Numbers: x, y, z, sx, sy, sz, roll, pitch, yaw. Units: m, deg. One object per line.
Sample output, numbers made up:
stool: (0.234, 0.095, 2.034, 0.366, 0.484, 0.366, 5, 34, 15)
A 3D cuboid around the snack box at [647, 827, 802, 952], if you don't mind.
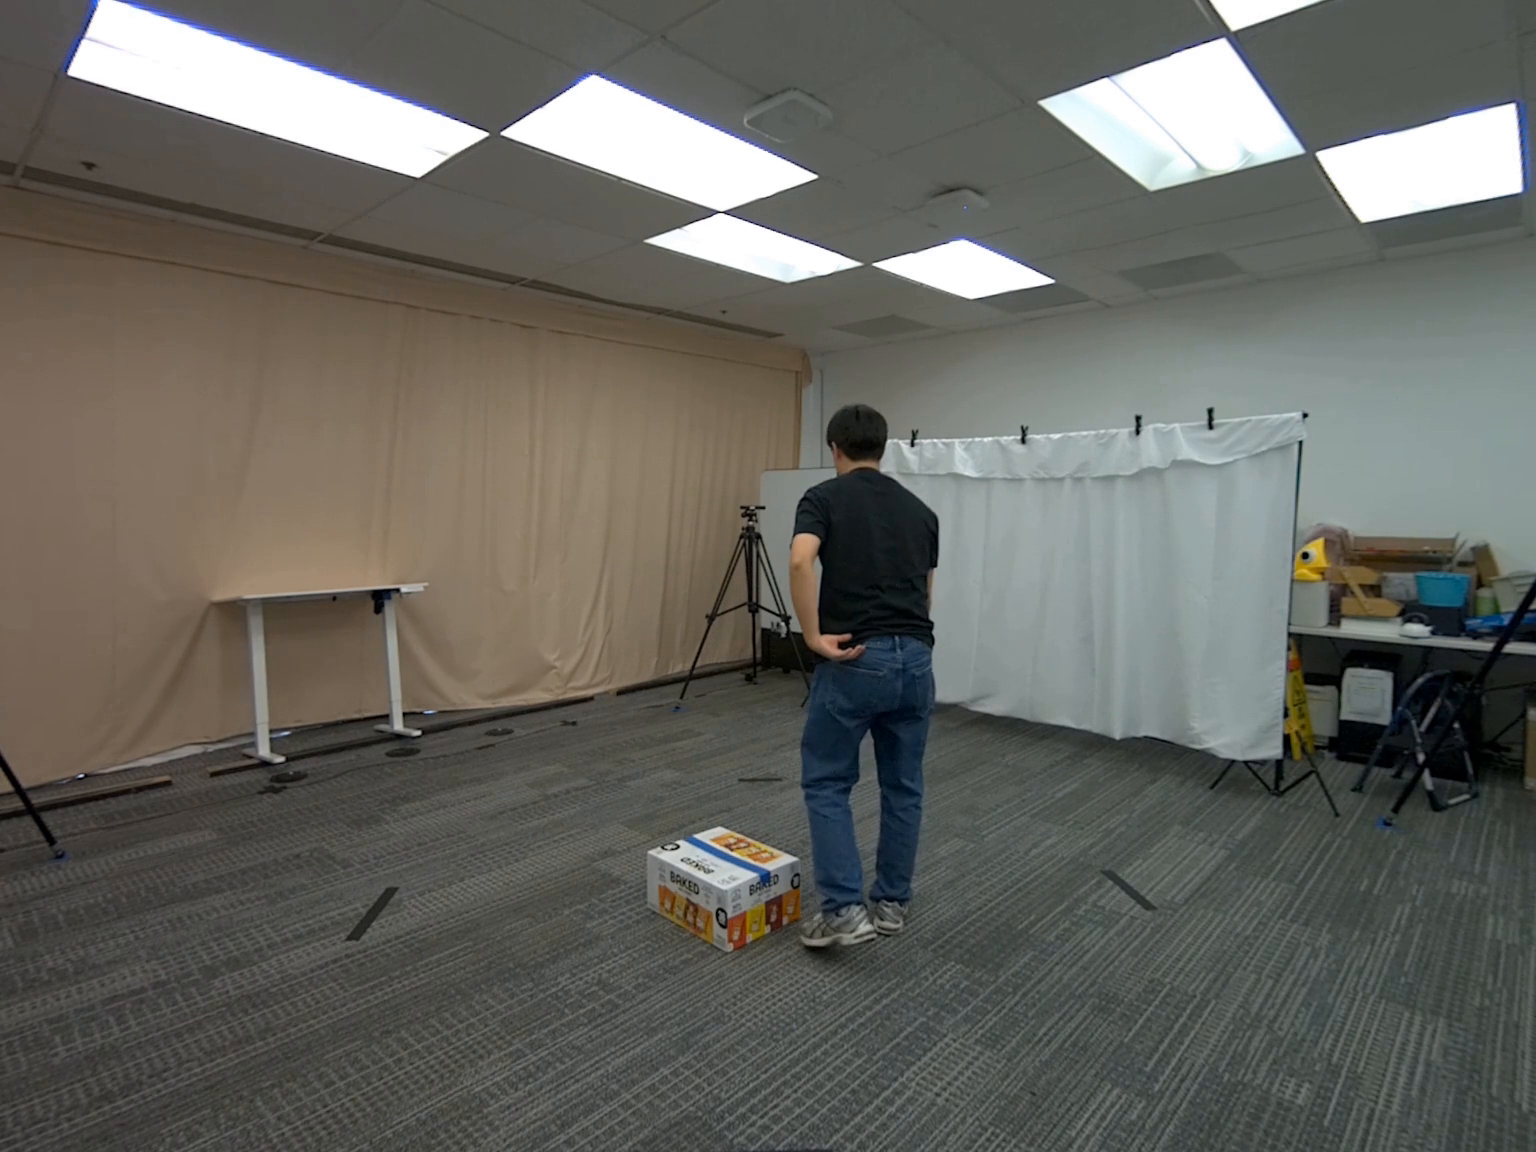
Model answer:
snack box: (-0.151, 1.053, 2.869, 0.330, 0.205, 0.419, -4, 5, -44)
